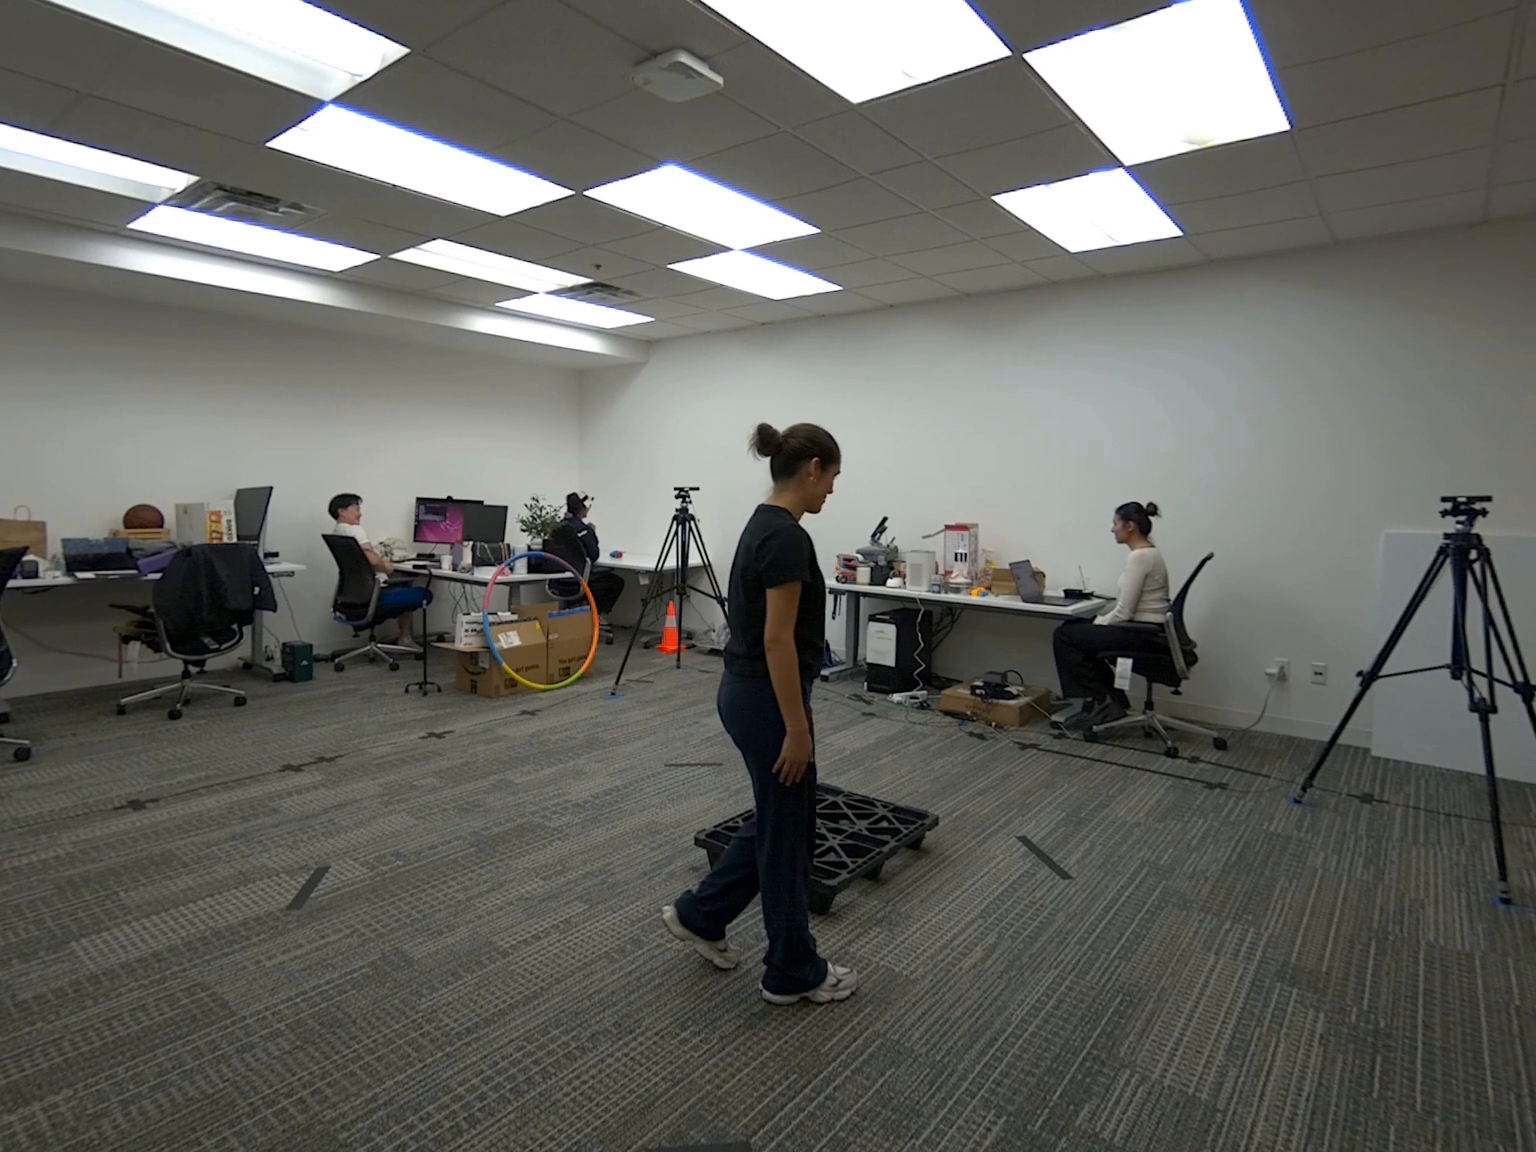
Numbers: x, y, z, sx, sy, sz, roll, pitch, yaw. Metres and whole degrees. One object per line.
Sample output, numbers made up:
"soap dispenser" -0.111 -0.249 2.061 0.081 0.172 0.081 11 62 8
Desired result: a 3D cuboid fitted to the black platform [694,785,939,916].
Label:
"black platform" 0.209 0.997 3.207 0.625 0.143 0.782 5 6 38
